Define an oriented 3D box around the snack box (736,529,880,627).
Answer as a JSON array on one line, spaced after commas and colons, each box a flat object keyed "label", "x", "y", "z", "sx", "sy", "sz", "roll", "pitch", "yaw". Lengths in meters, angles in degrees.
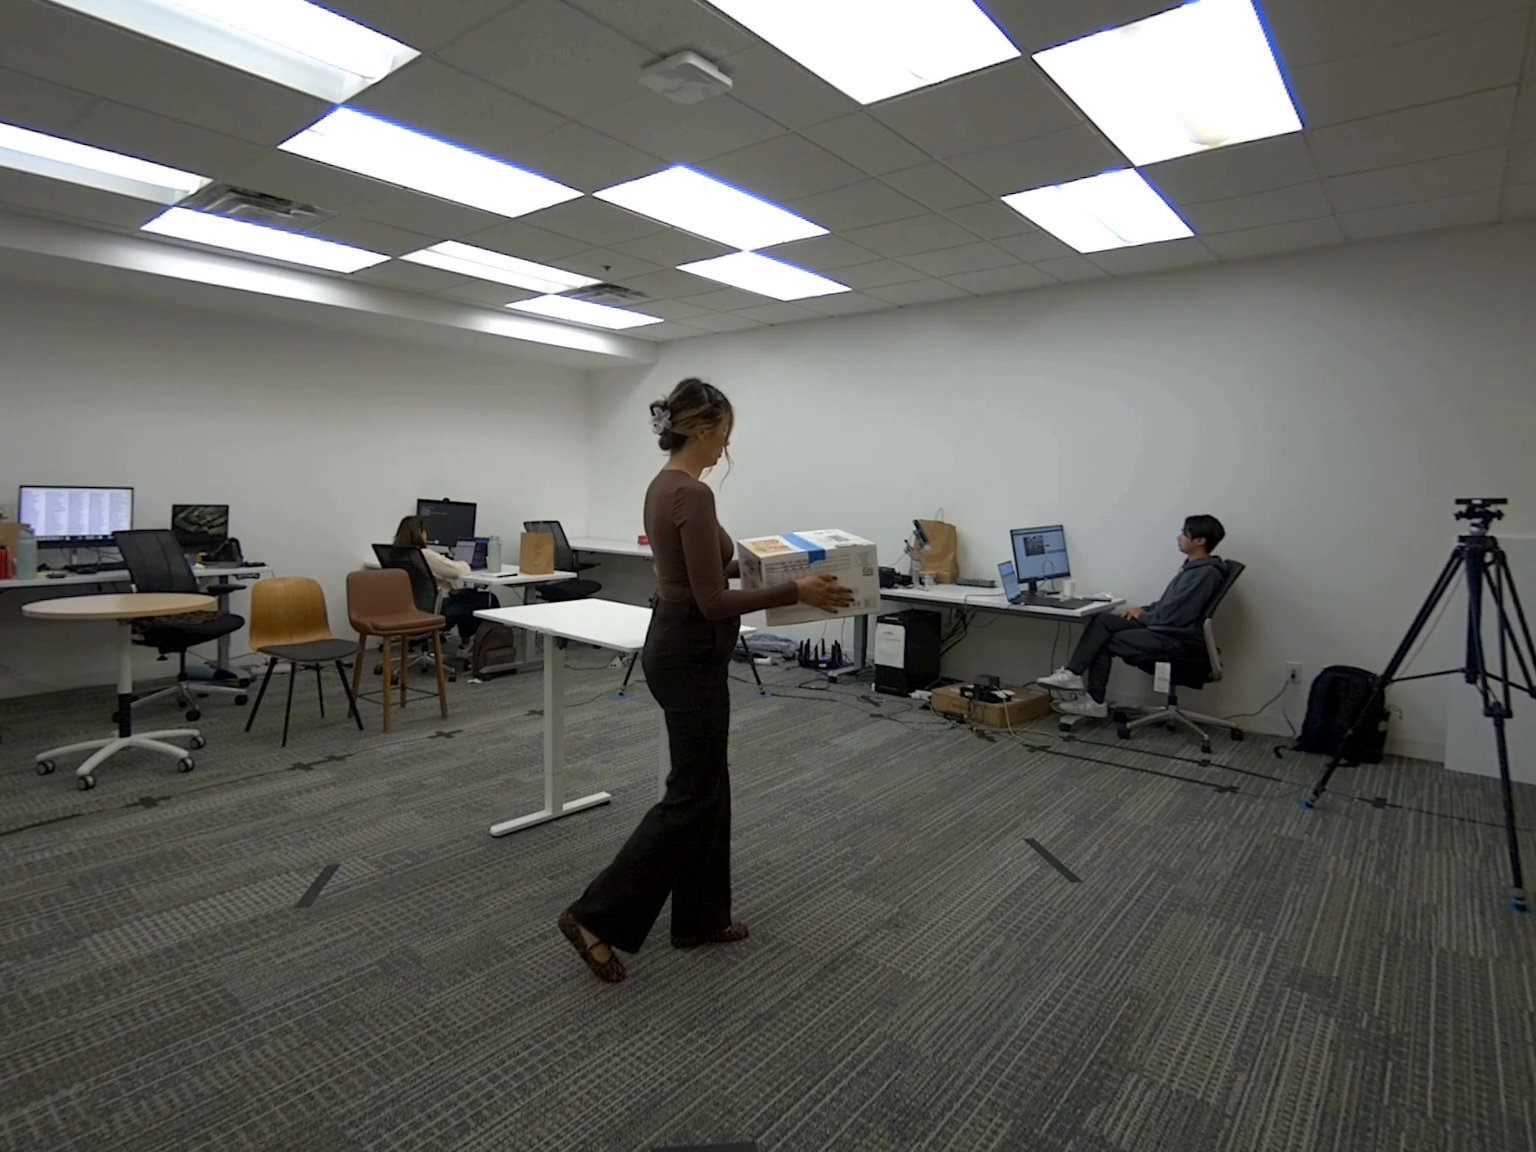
[{"label": "snack box", "x": 0.101, "y": -0.005, "z": 2.605, "sx": 0.337, "sy": 0.204, "sz": 0.412, "roll": -7, "pitch": 10, "yaw": -10}]
